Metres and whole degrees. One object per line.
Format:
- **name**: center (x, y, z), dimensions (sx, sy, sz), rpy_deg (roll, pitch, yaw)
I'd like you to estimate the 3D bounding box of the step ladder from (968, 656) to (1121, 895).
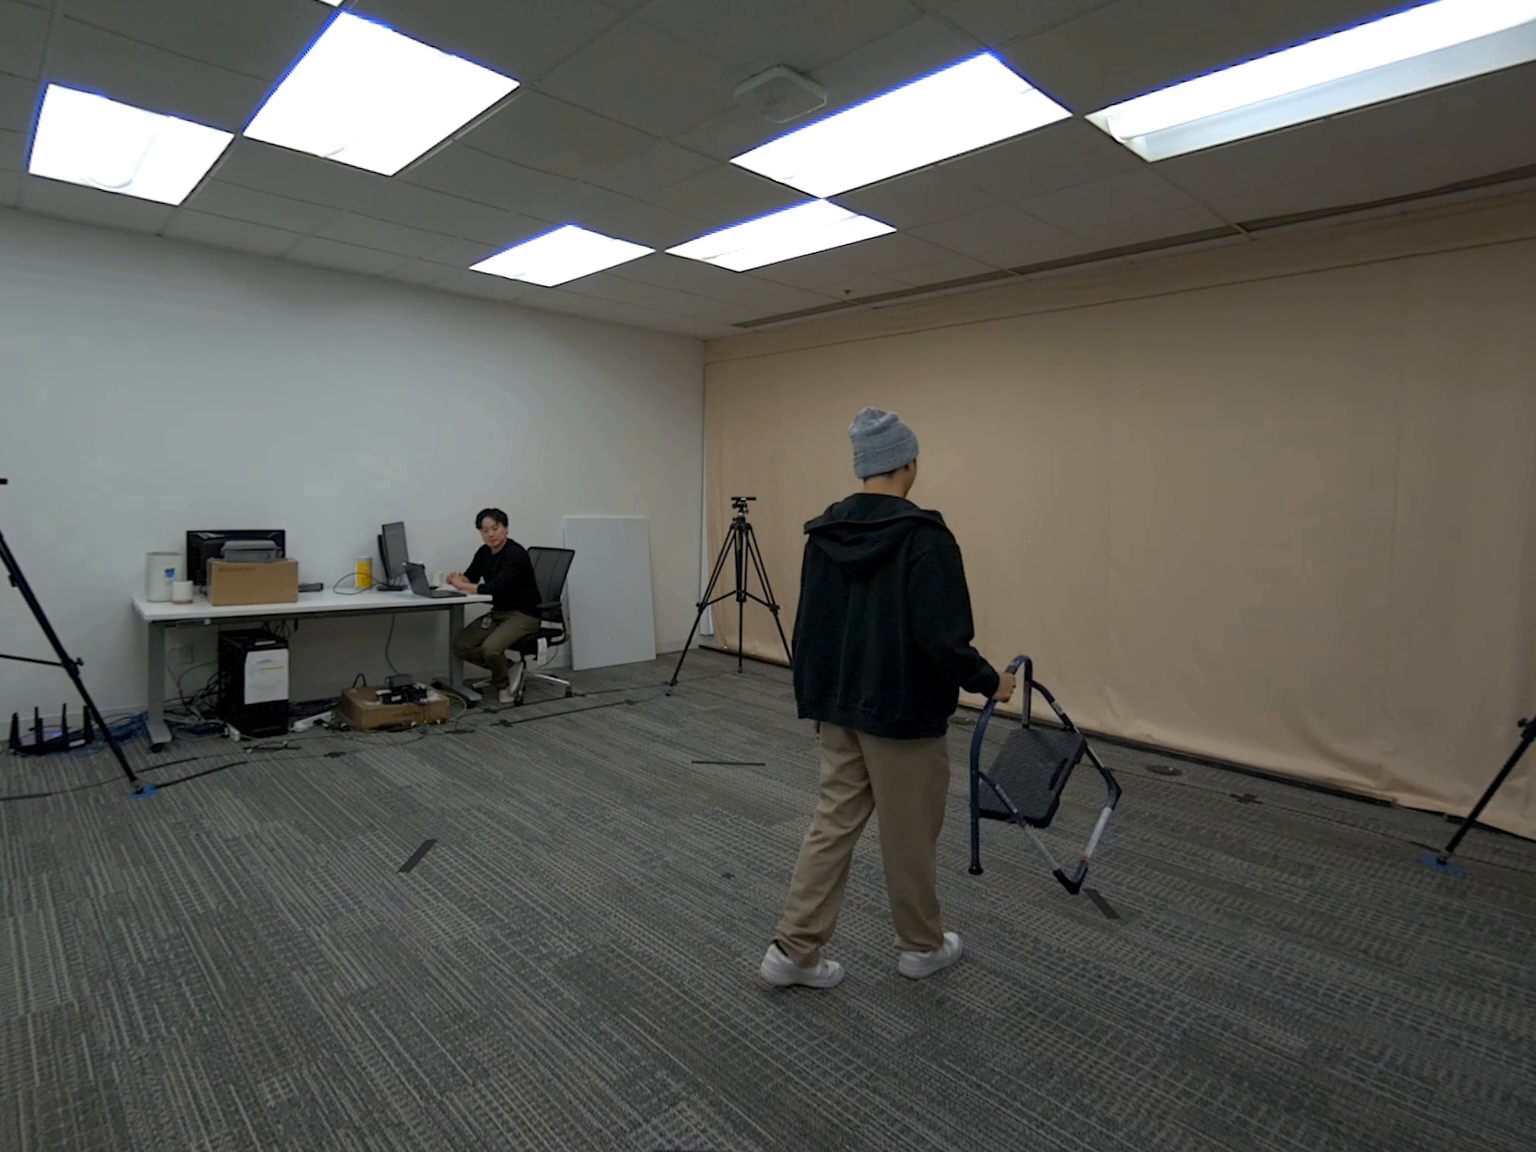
- **step ladder**: center (0.728, 0.545, 2.511), dimensions (0.357, 0.594, 0.430), rpy_deg (-5, 30, 46)
